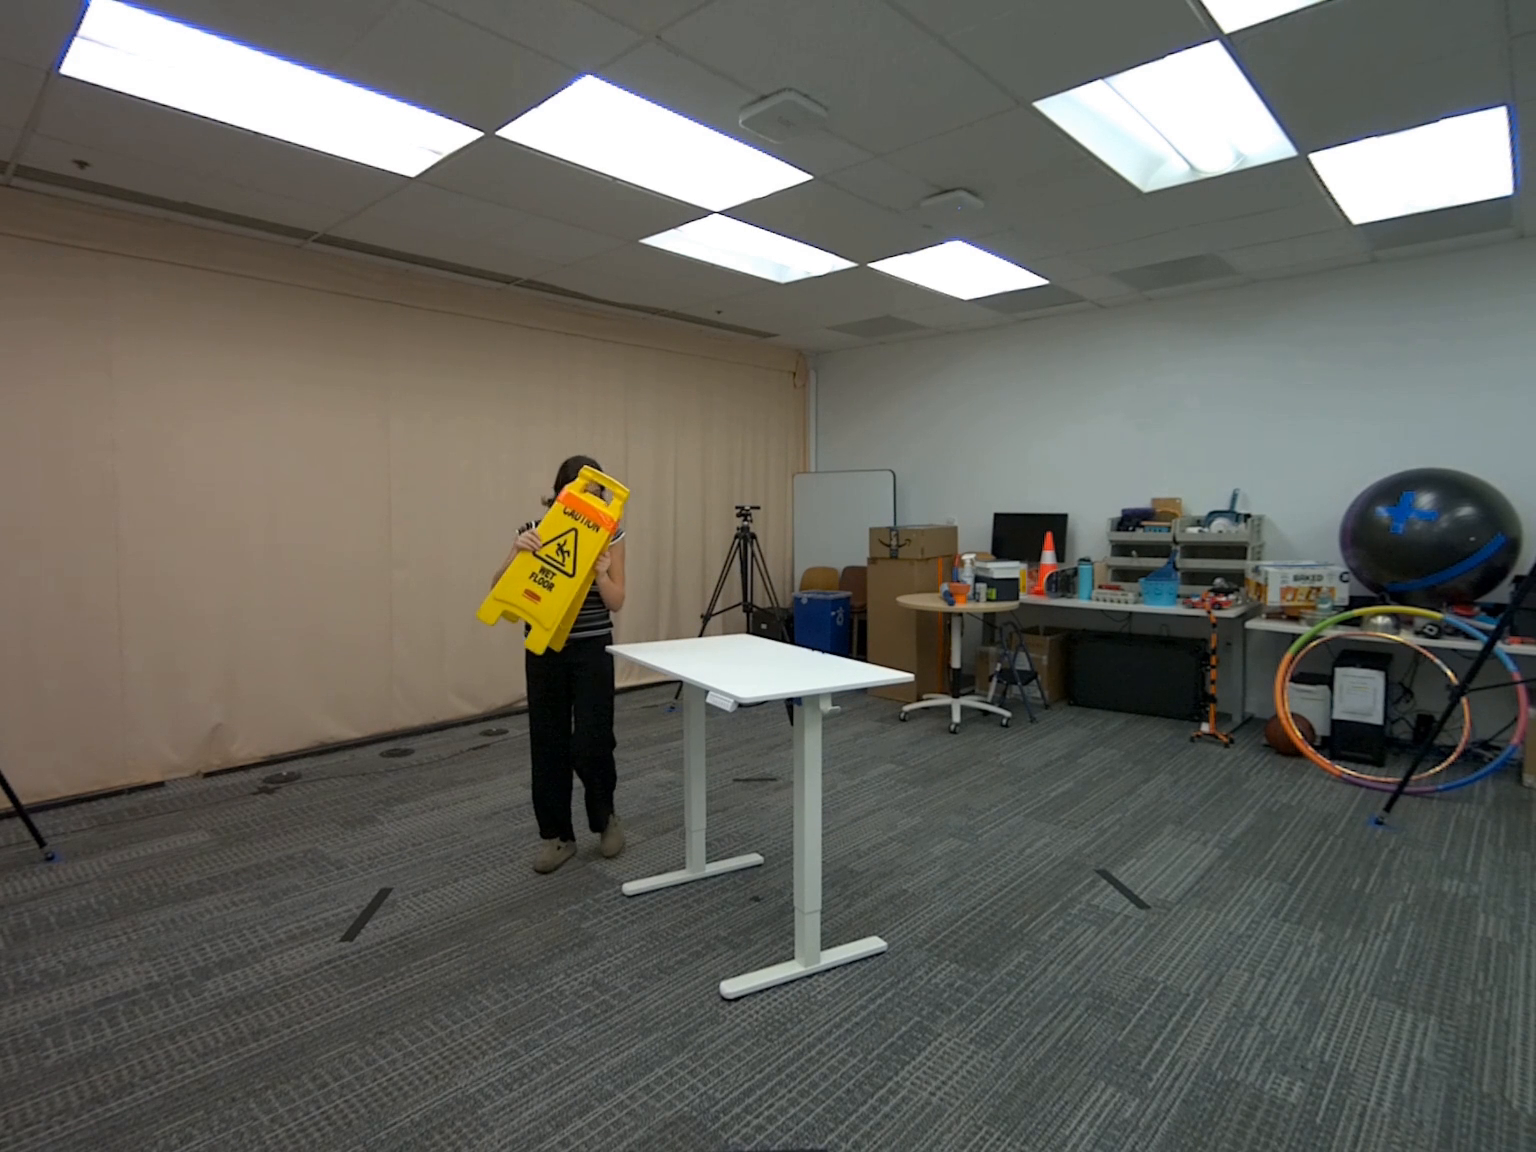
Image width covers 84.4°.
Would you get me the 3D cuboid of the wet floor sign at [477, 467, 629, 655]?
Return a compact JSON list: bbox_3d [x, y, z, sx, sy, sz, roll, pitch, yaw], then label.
[{"bbox_3d":[-0.726,-0.074,3.033,0.285,0.646,0.287,30,0,6],"label":"wet floor sign"}]
